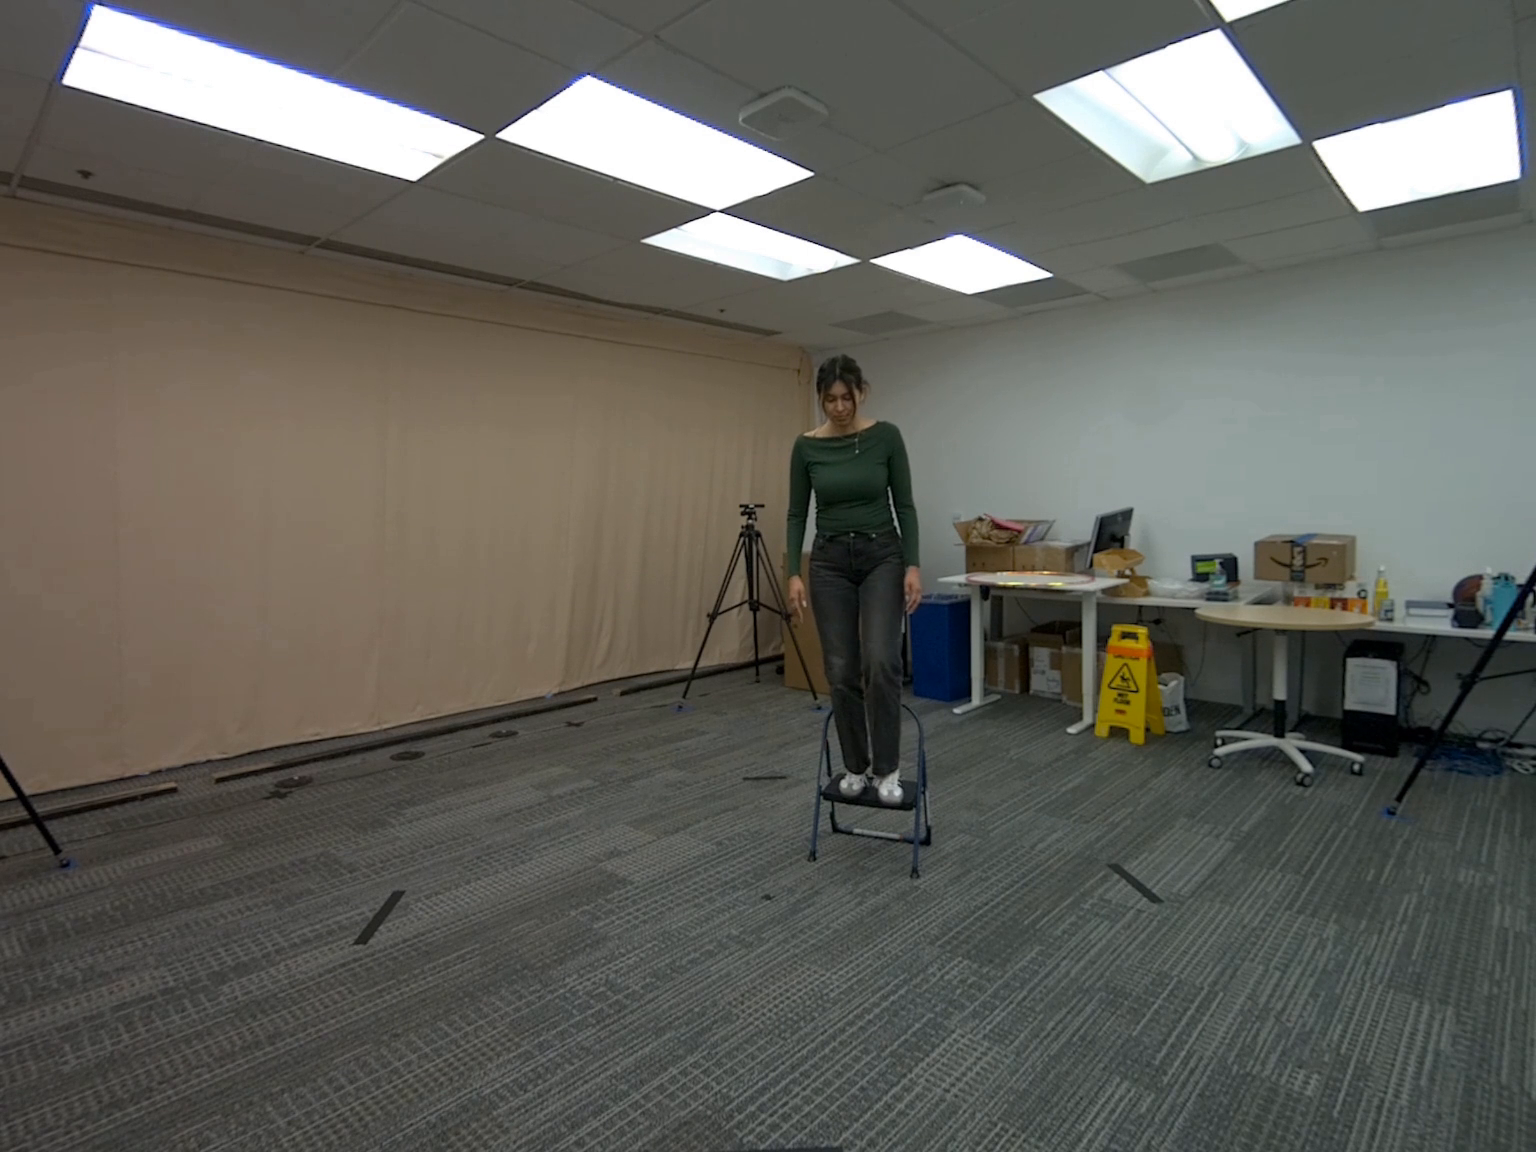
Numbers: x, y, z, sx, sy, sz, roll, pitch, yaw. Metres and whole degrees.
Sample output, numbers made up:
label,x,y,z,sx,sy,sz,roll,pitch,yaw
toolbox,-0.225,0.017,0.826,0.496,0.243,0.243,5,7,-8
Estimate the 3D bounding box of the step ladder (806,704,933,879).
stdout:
label,x,y,z,sx,sy,sz,roll,pitch,yaw
step ladder,0.417,0.801,3.341,0.440,0.605,0.342,0,3,22
